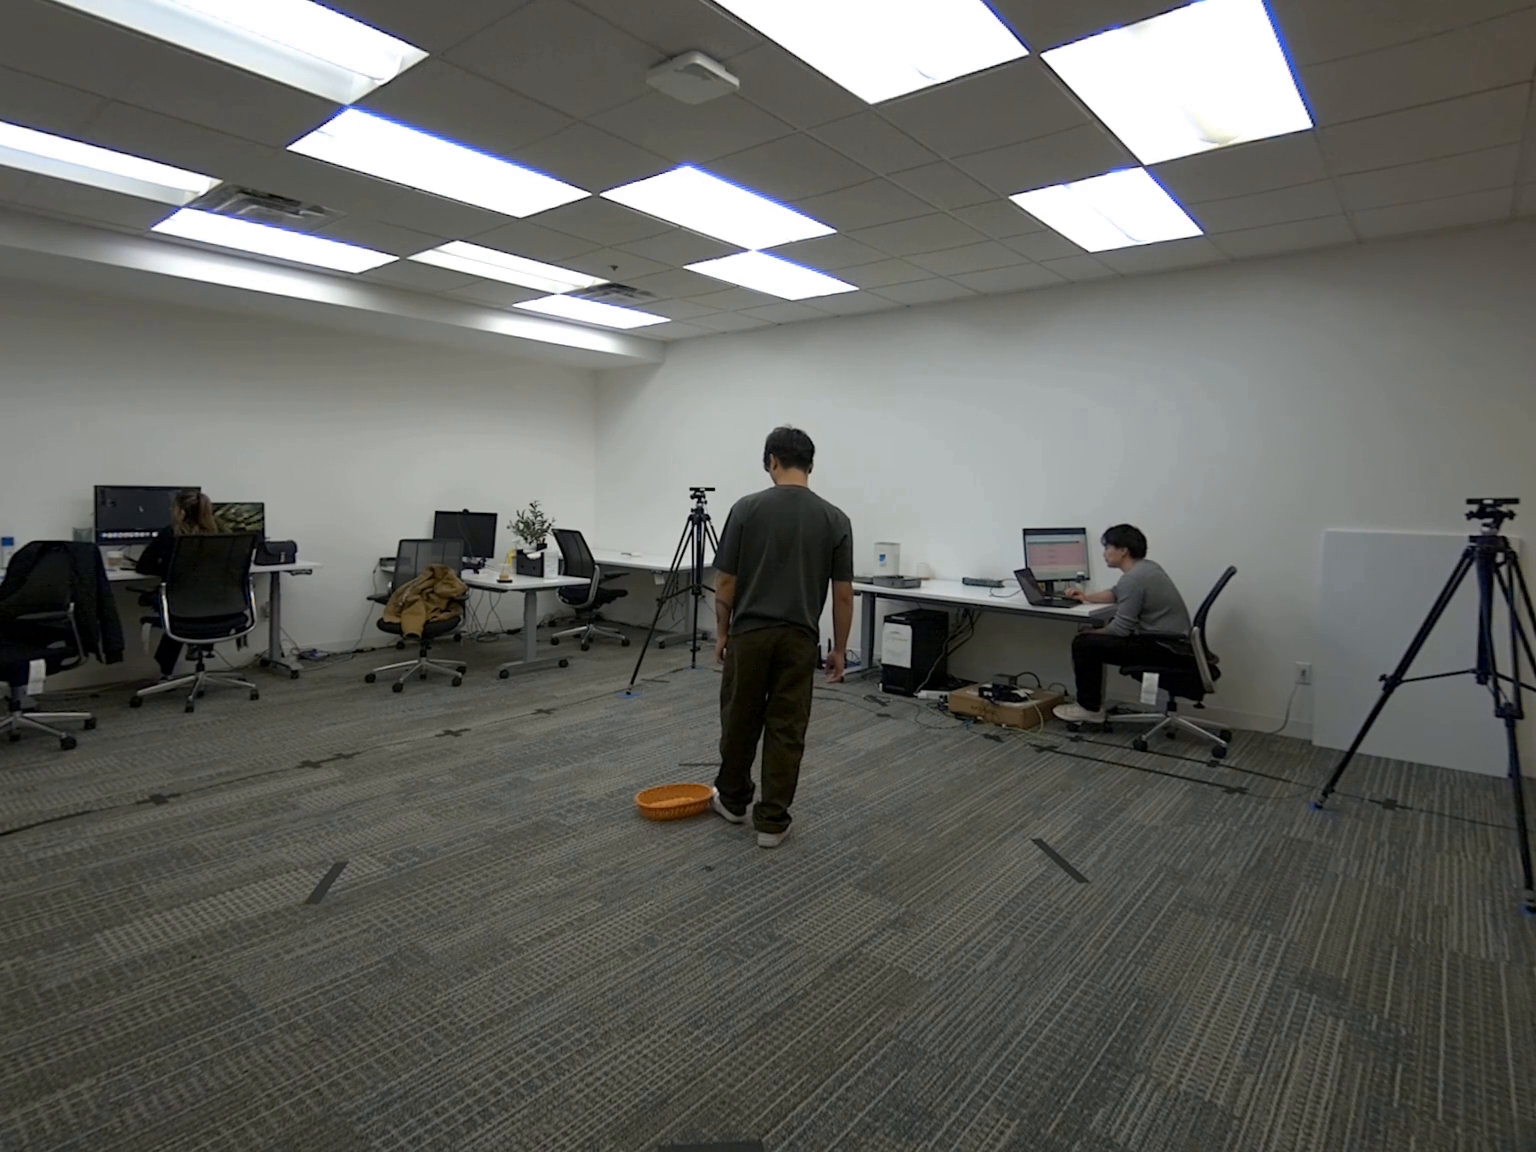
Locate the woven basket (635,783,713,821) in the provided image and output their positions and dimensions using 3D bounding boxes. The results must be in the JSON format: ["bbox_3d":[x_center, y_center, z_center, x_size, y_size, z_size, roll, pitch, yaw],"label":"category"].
[{"bbox_3d":[-0.417,0.968,3.661,0.343,0.073,0.259,-5,8,-22],"label":"woven basket"}]
